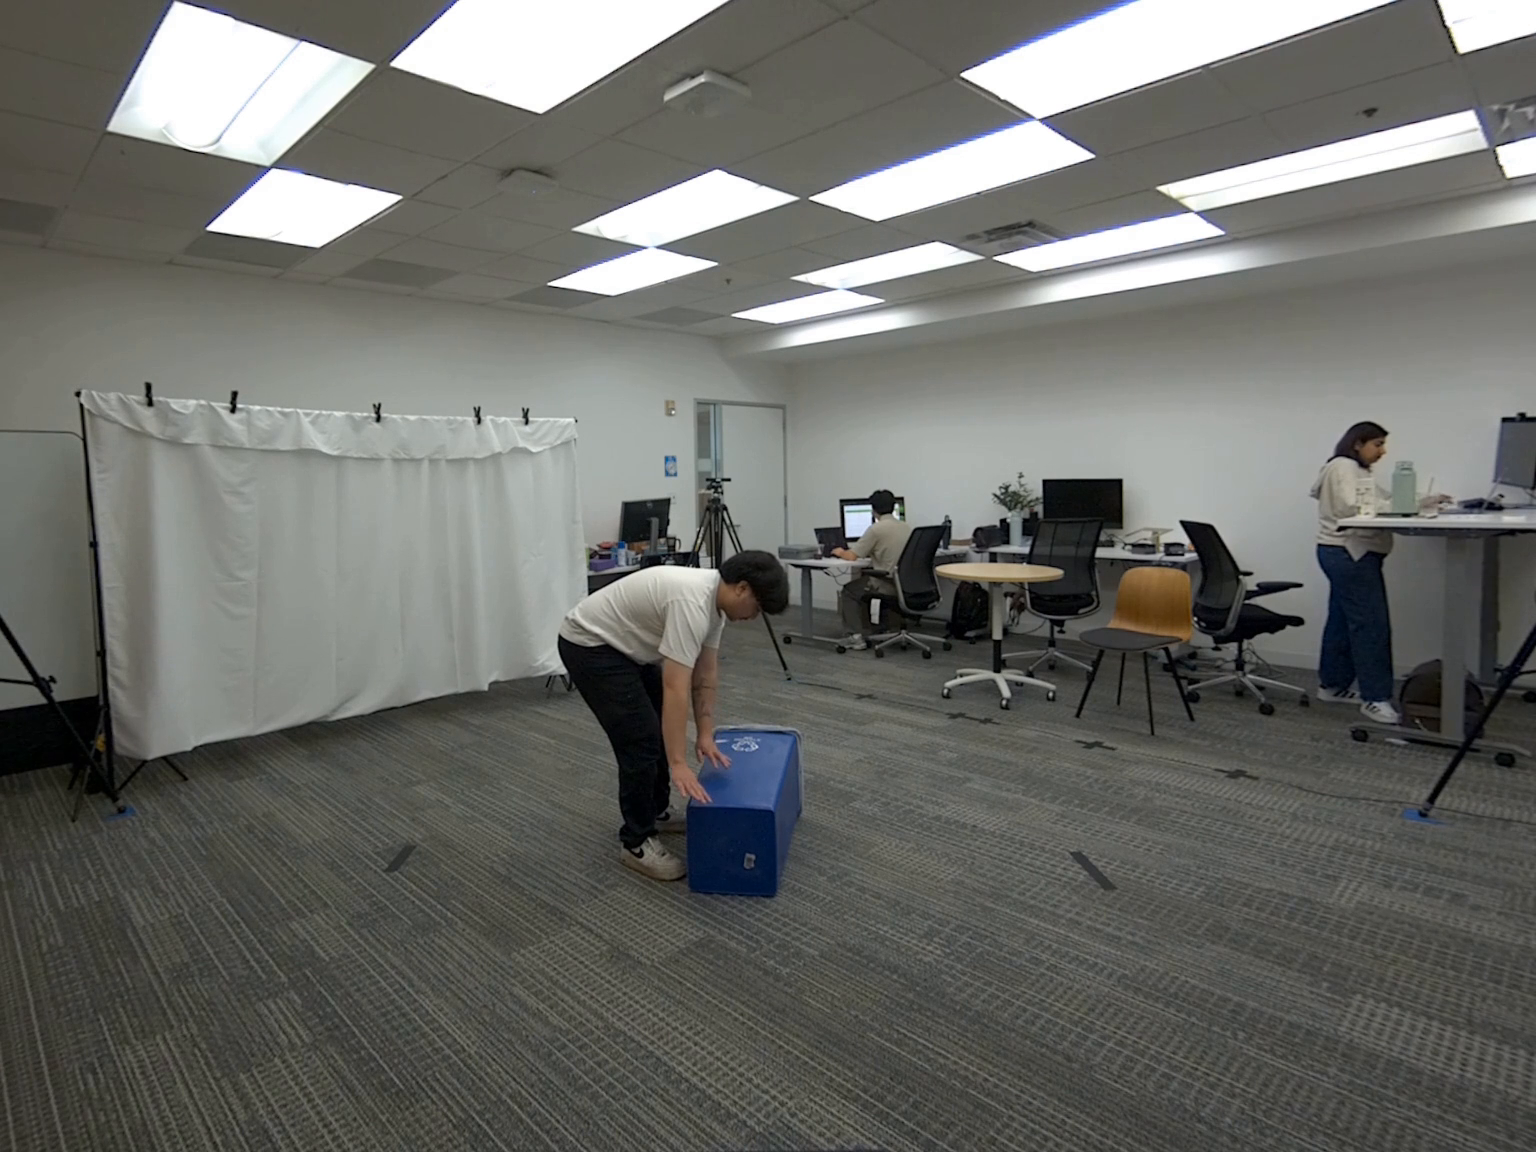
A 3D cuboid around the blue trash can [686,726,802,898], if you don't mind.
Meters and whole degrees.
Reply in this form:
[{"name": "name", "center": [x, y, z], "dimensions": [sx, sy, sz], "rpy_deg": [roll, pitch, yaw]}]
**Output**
[{"name": "blue trash can", "center": [-0.076, 0.863, 3.202], "dimensions": [0.377, 0.375, 0.714], "rpy_deg": [0, 9, 6]}]
